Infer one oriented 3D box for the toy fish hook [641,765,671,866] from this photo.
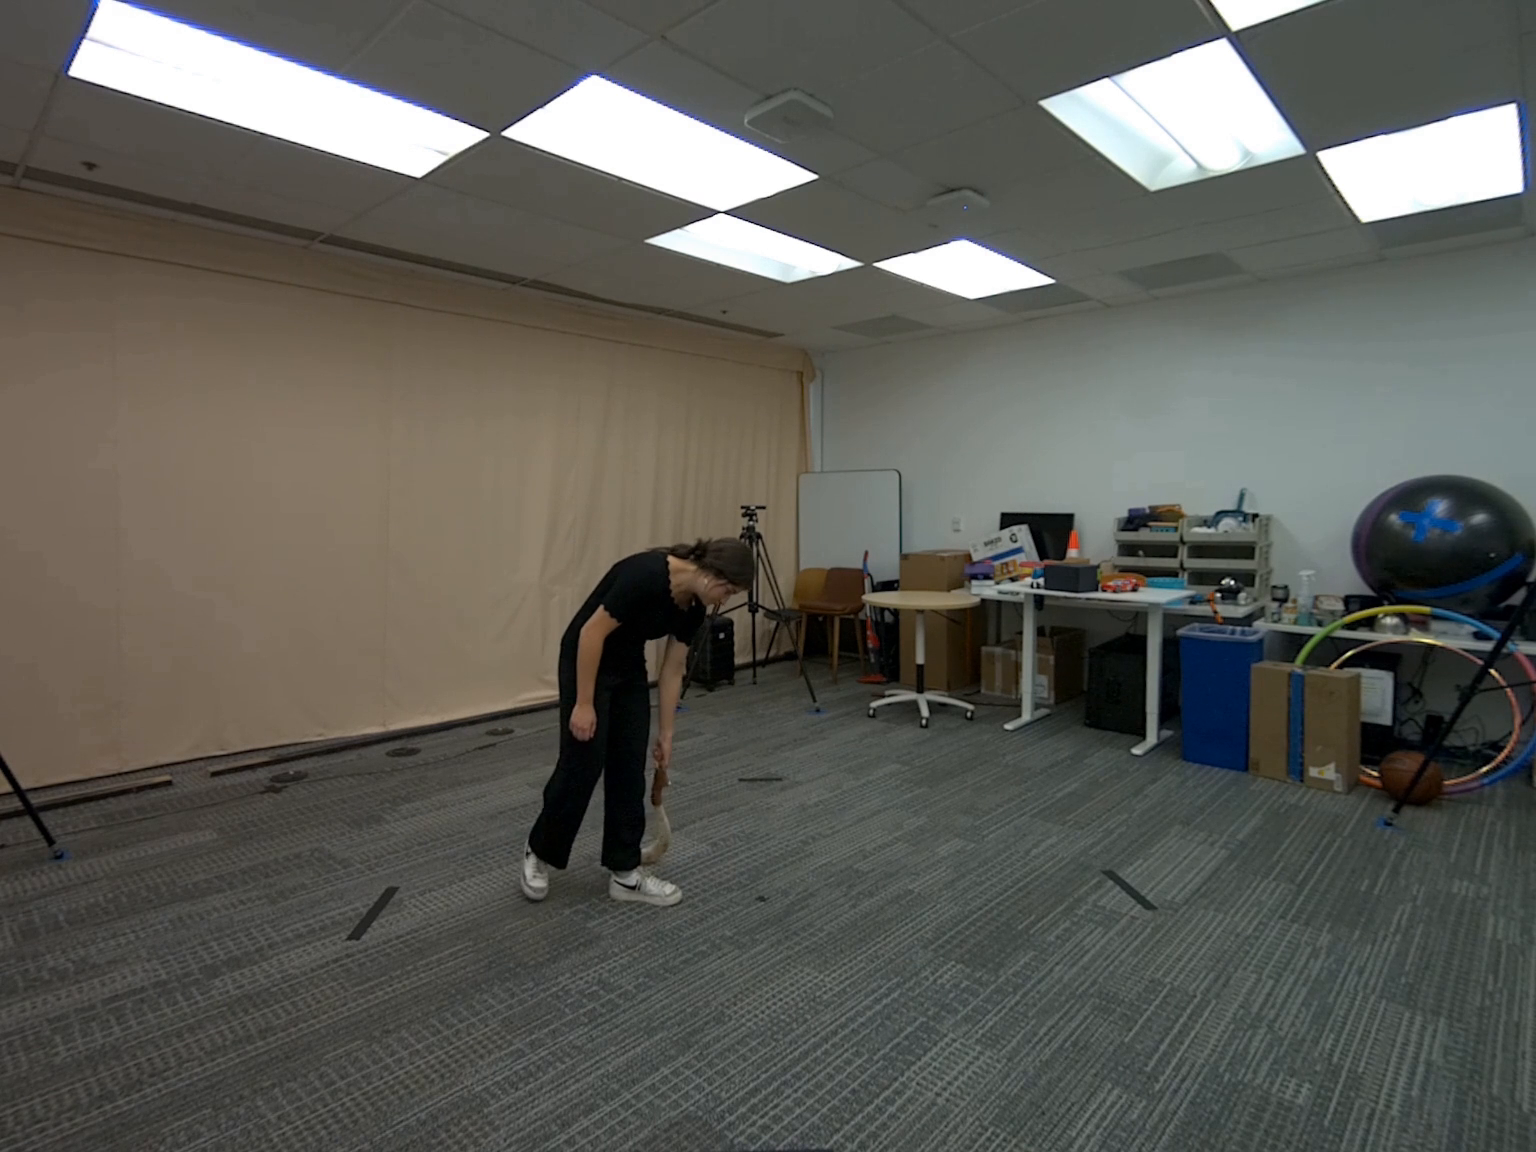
[{"bbox_3d":[-0.469,0.903,3.178,0.220,0.501,0.050,-1,26,-19],"label":"toy fish hook"}]
